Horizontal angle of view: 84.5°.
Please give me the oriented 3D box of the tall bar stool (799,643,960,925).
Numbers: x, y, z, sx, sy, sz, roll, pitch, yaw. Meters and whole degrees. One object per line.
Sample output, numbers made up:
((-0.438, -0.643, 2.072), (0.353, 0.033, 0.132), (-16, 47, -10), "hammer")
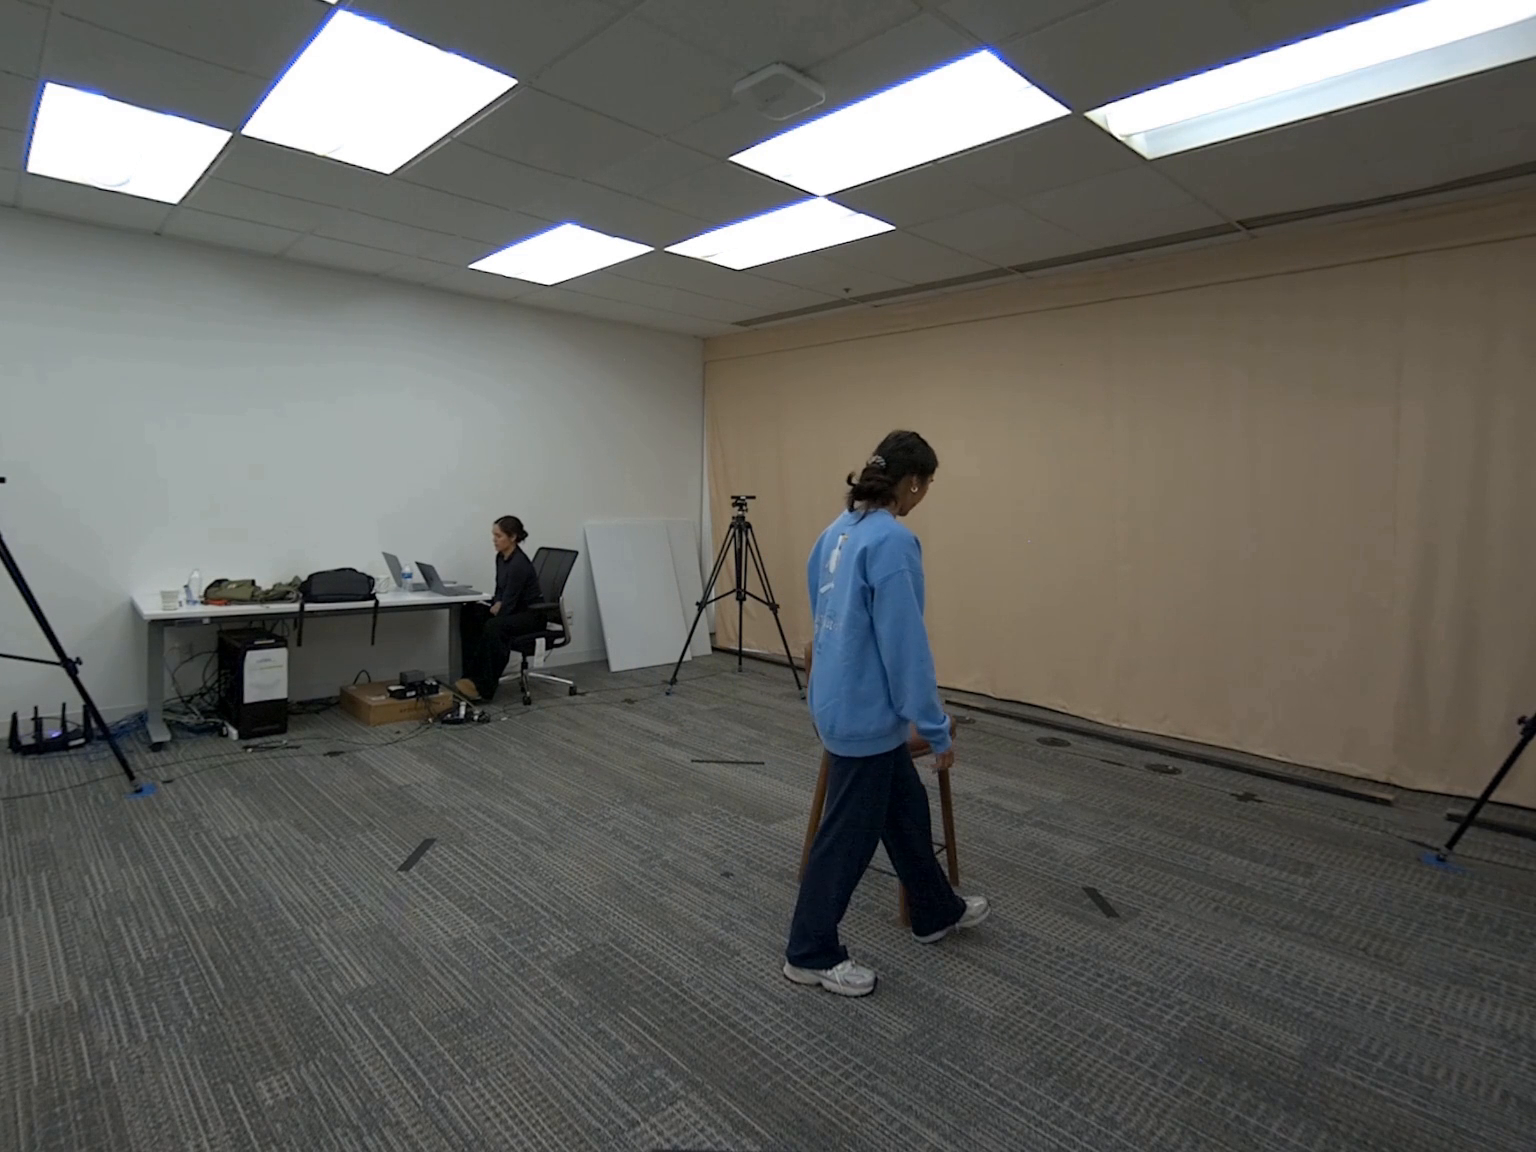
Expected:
((0.410, 0.690, 3.024), (0.479, 0.888, 0.446), (2, 3, 38), "tall bar stool")
